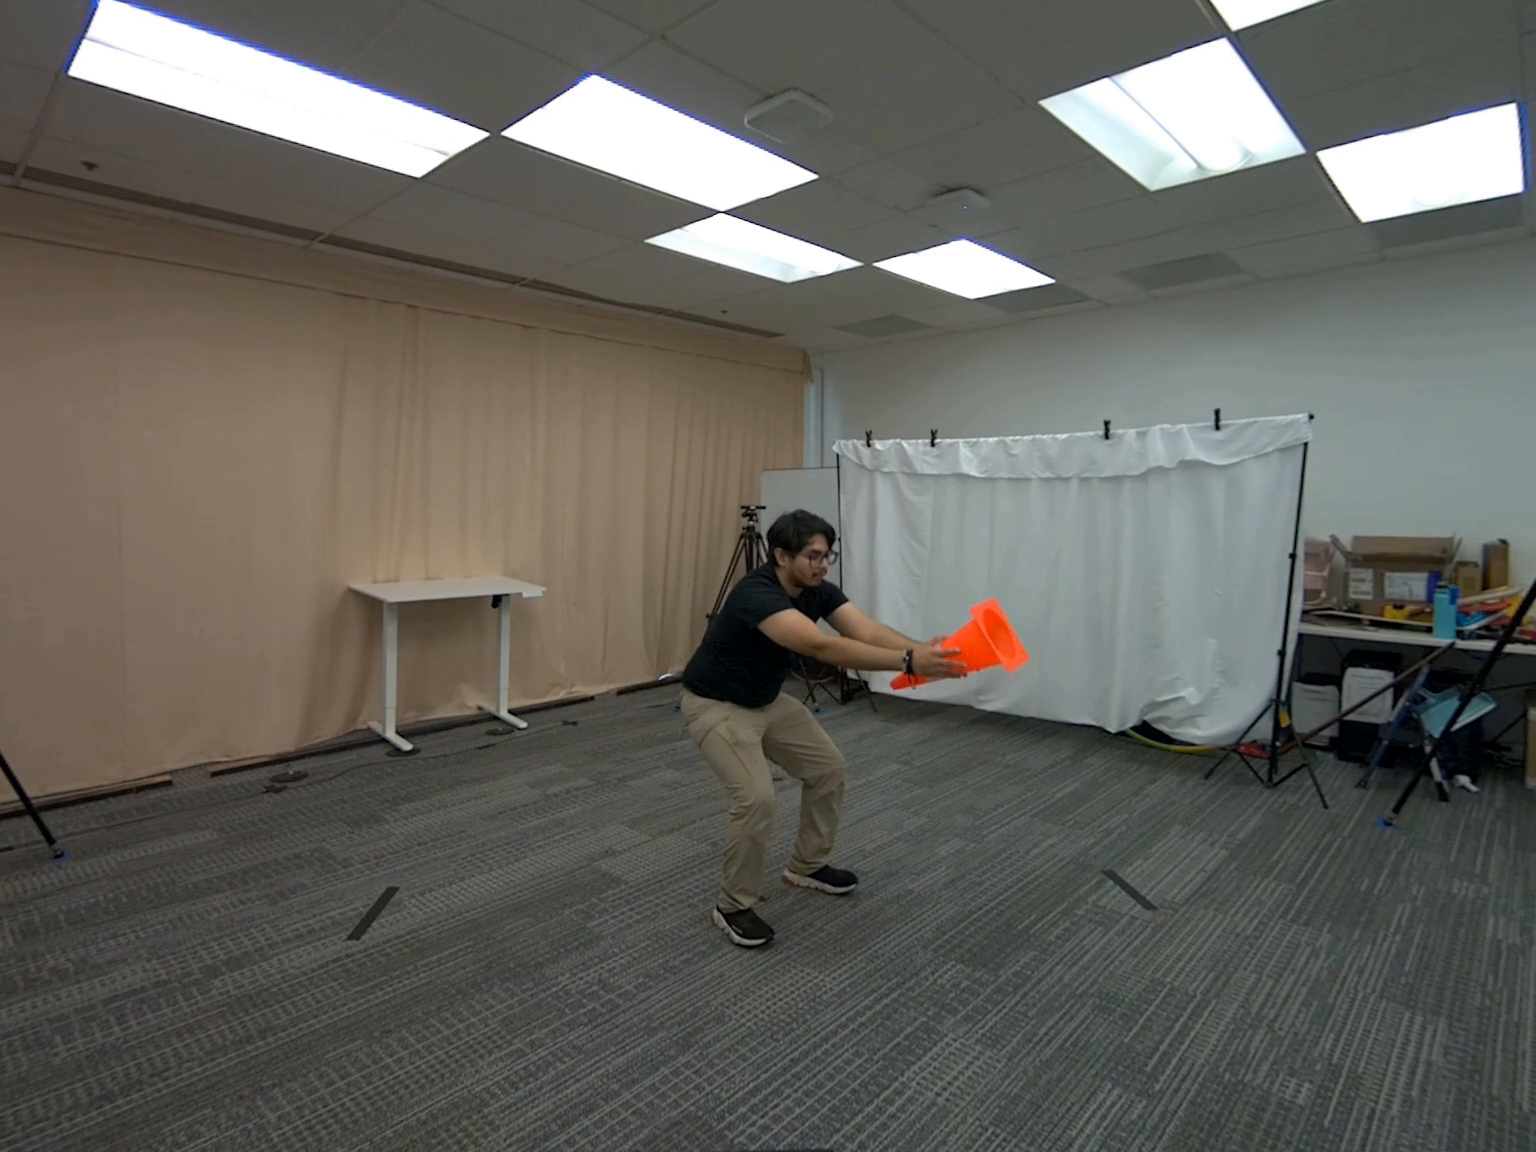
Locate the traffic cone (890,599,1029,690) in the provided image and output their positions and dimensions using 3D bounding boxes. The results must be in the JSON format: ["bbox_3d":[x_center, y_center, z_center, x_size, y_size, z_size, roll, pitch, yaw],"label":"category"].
[{"bbox_3d":[0.523,0.249,2.450,0.390,0.206,0.199,-31,-13,35],"label":"traffic cone"}]
